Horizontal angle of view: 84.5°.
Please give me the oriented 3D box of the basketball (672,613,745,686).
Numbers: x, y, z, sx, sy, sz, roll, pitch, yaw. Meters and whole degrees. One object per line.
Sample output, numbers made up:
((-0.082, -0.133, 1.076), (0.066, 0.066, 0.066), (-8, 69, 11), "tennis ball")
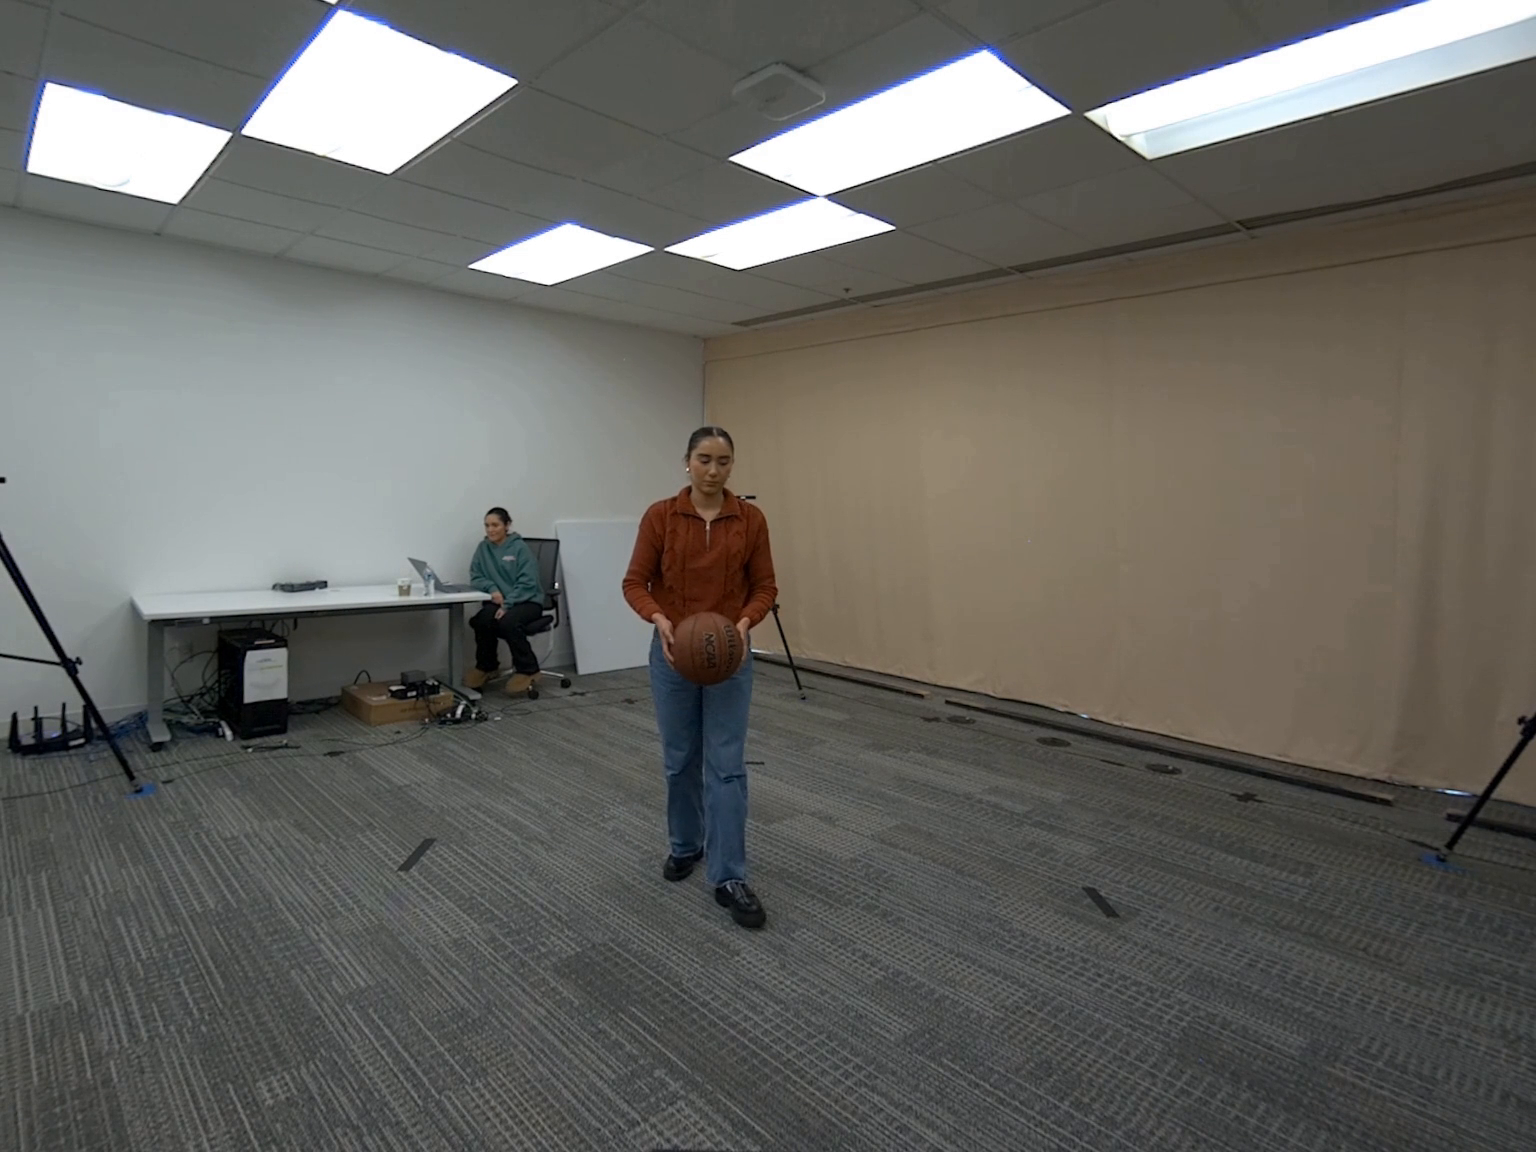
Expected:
((-0.207, 0.232, 2.710), (0.236, 0.235, 0.237), (1, 4, -1), "basketball")
